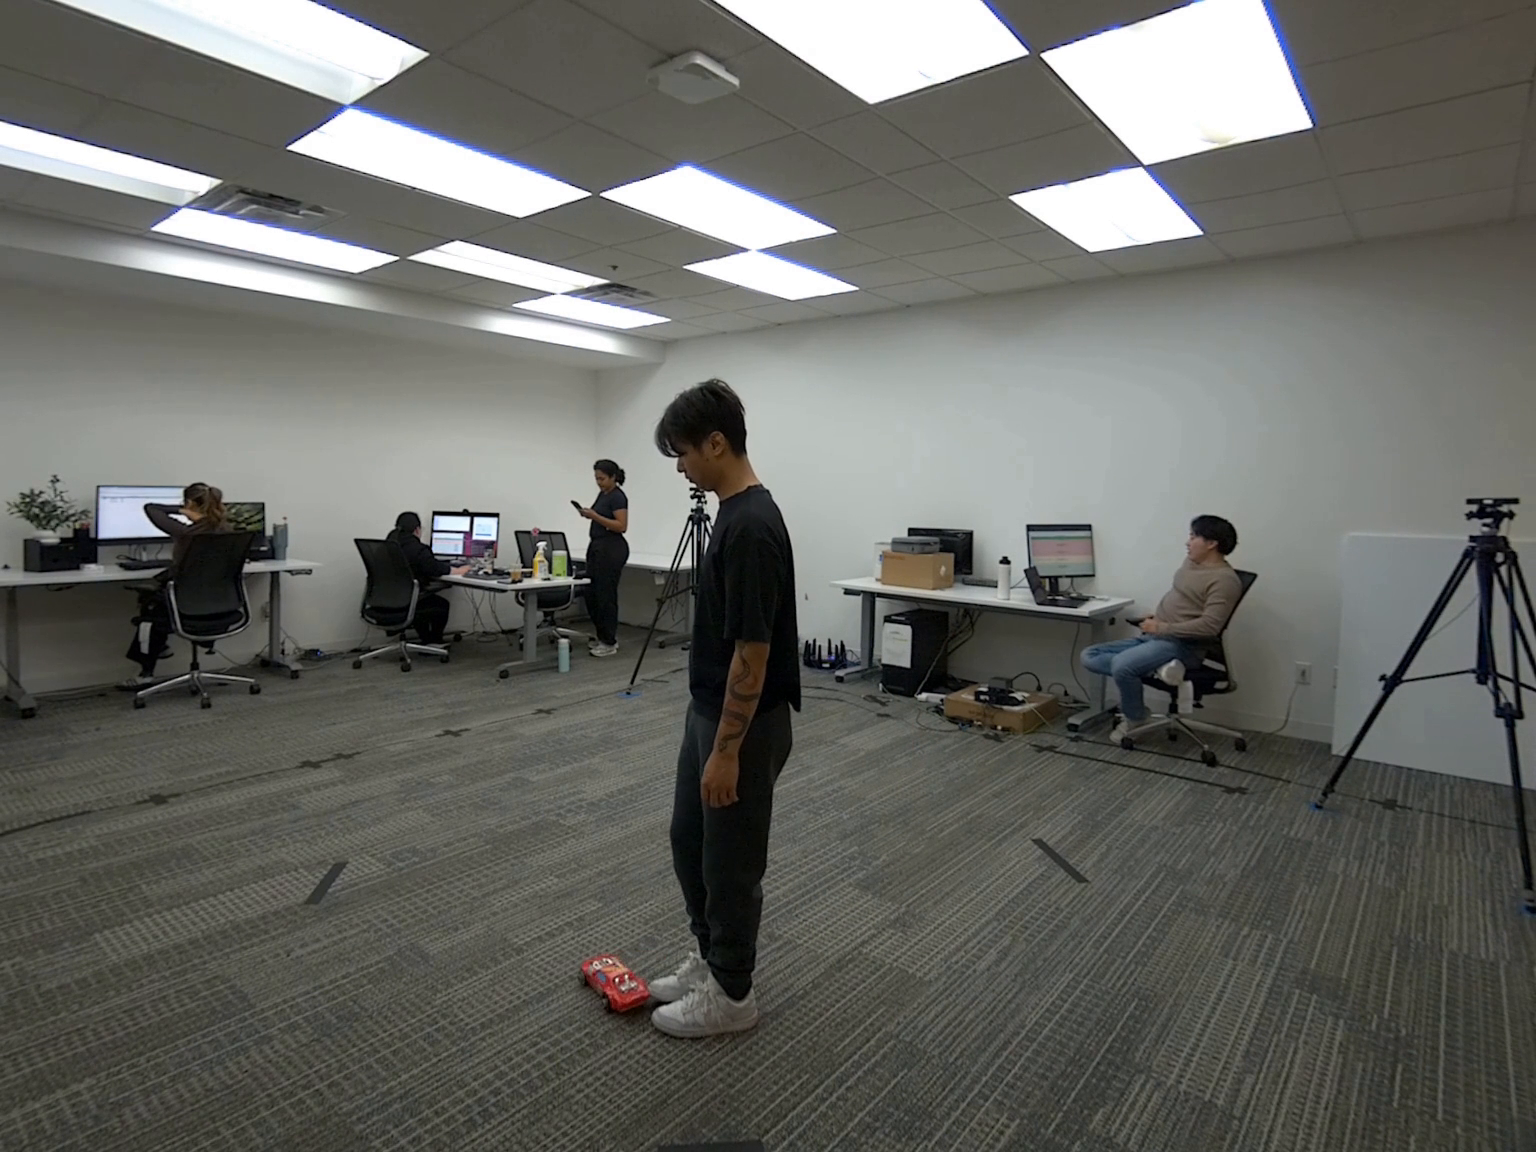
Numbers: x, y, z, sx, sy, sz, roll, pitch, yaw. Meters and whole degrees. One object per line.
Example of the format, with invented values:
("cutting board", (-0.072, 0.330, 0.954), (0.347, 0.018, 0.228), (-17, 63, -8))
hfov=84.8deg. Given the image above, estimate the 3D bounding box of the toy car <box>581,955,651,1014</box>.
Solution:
("toy car", (-0.425, 1.111, 2.316), (0.126, 0.083, 0.261), (-3, -4, -36))
